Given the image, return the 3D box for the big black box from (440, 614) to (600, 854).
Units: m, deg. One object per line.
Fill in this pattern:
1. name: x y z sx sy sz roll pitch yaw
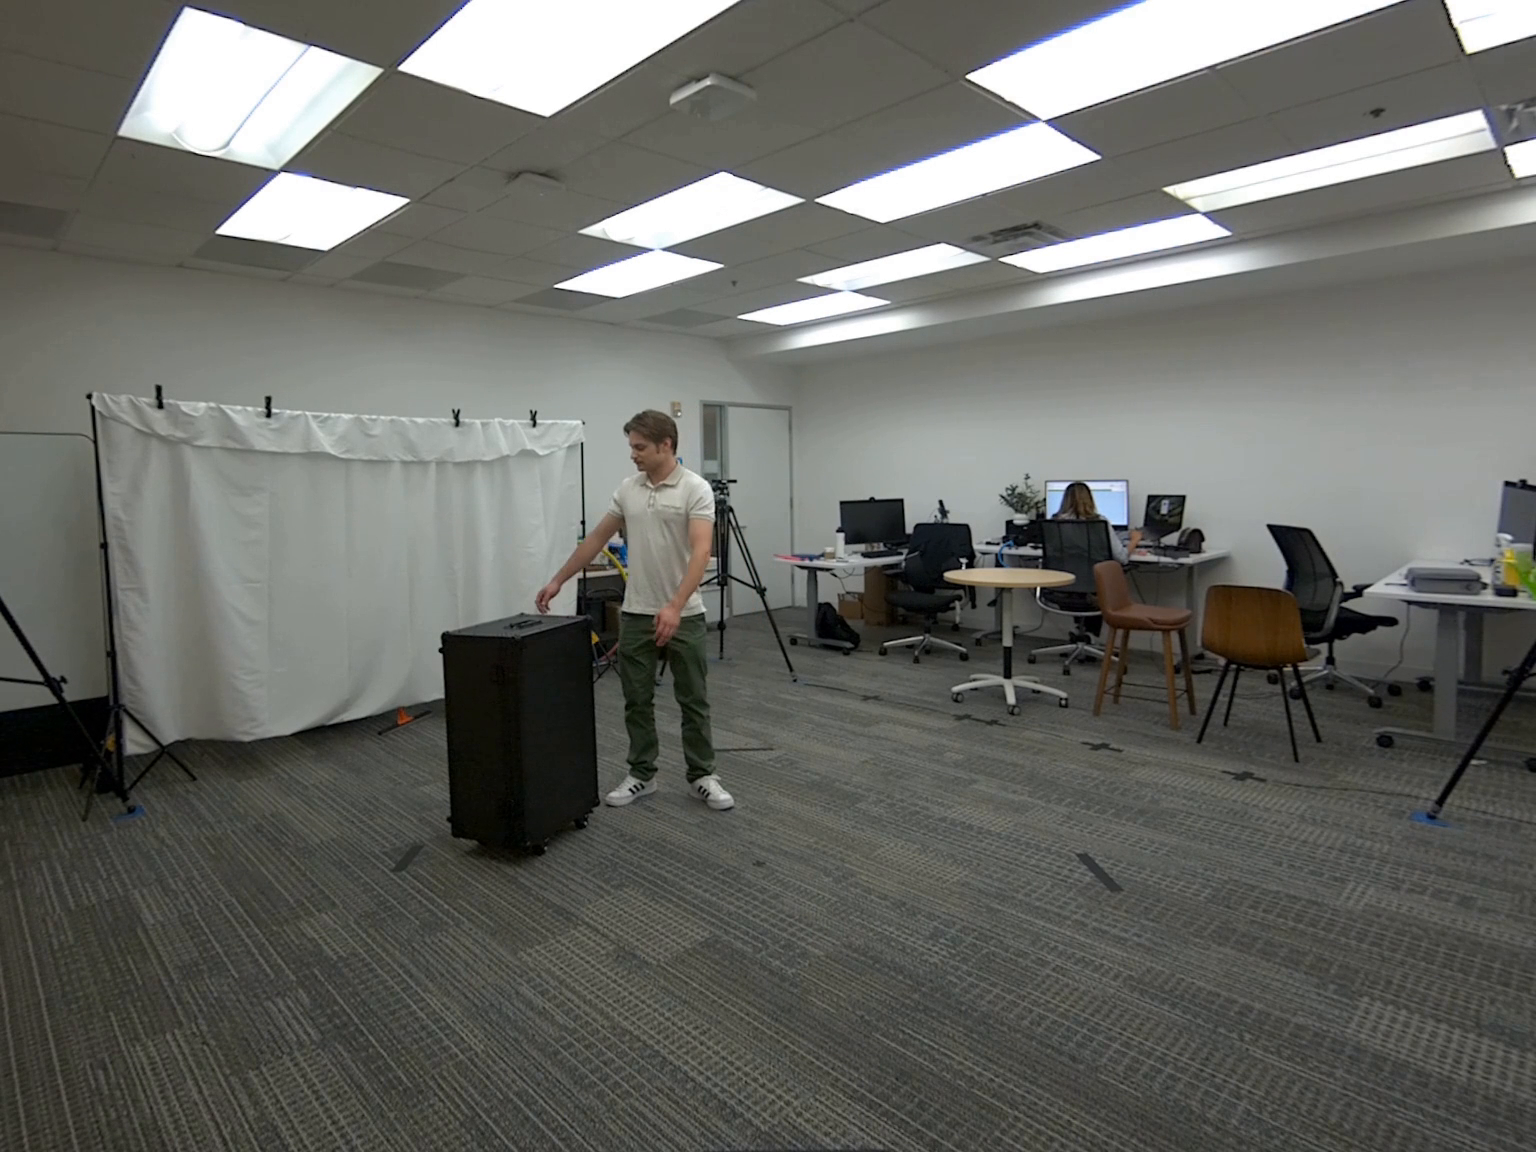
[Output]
1. big black box: -0.964 0.612 3.359 0.394 0.866 0.514 0 4 23
